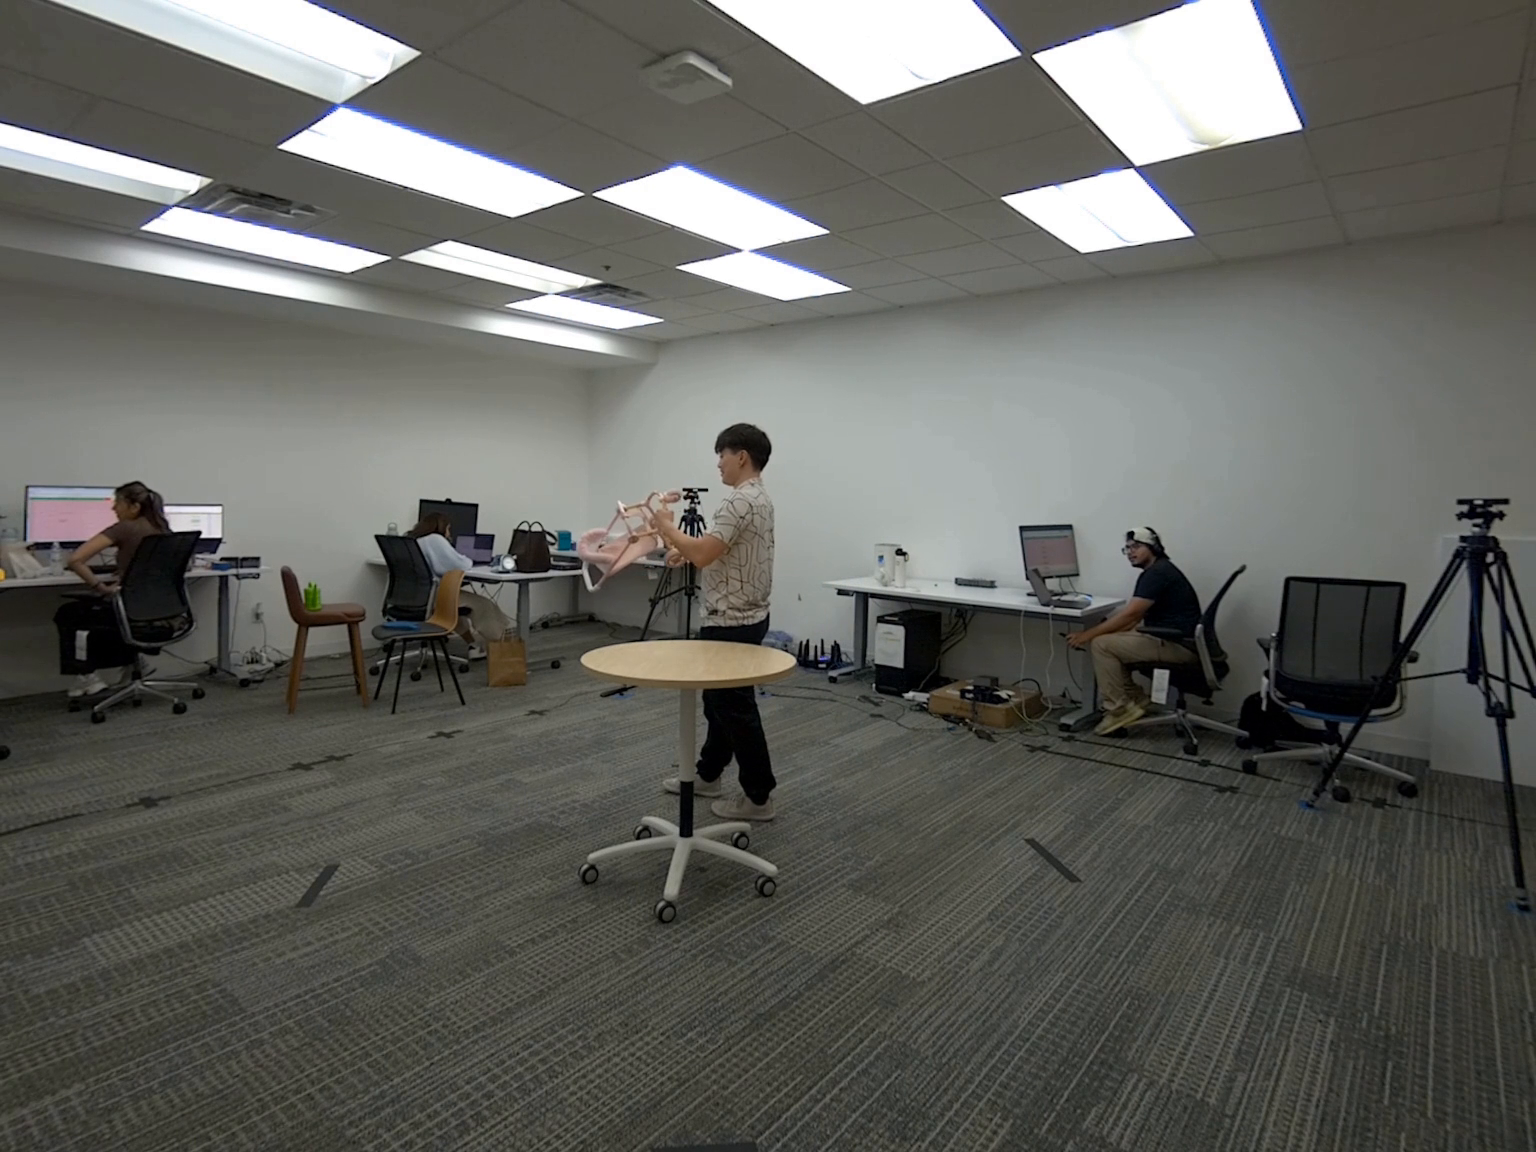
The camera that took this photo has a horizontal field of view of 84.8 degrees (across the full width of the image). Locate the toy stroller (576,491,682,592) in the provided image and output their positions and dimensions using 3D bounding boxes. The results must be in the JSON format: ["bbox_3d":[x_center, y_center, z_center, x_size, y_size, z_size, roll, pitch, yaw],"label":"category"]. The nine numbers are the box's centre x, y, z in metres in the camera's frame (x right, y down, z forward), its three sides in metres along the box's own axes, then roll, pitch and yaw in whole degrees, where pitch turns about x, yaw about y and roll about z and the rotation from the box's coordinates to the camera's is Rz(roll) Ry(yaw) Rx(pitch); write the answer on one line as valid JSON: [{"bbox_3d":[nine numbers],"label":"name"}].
[{"bbox_3d":[-0.615,-0.175,3.716,0.533,0.292,0.329,-22,-37,-5],"label":"toy stroller"}]
